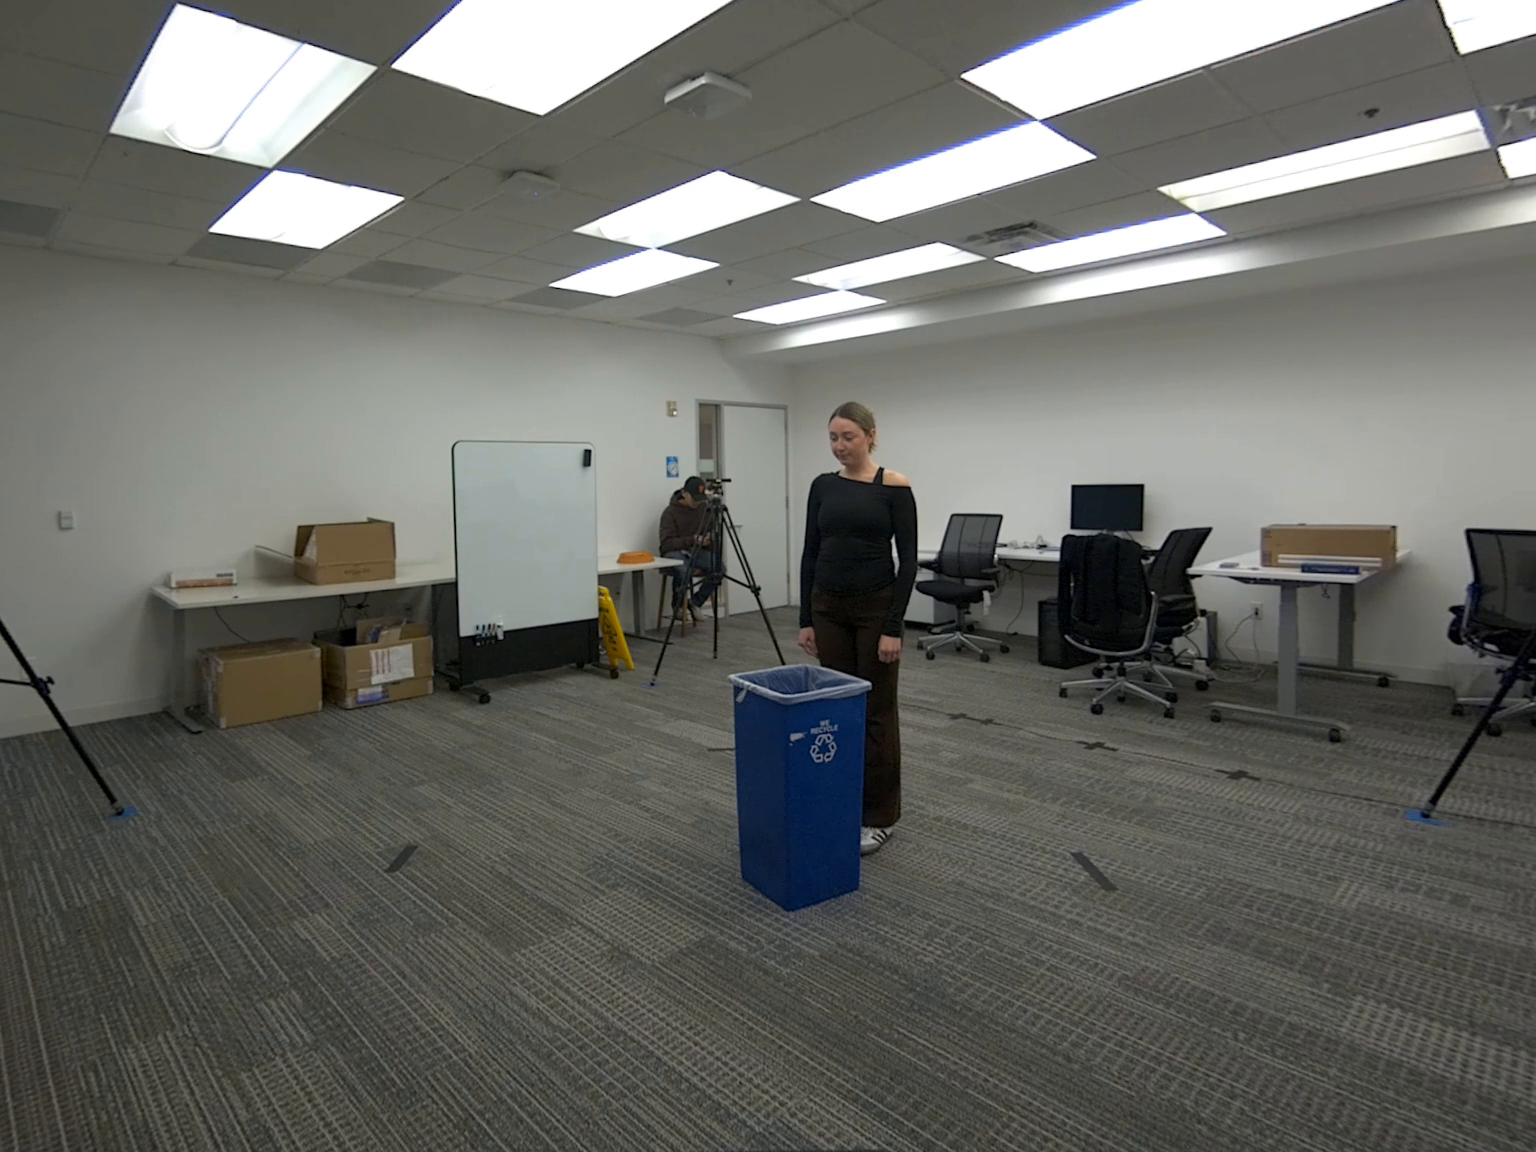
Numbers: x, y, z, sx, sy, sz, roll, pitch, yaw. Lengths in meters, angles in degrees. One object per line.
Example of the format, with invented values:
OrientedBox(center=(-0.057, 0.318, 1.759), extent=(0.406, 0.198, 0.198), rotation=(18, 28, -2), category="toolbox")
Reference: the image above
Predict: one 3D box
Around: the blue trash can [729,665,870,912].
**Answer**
OrientedBox(center=(0.108, 0.704, 2.932), extent=(0.365, 0.711, 0.389), rotation=(-3, 5, -33), category="blue trash can")
